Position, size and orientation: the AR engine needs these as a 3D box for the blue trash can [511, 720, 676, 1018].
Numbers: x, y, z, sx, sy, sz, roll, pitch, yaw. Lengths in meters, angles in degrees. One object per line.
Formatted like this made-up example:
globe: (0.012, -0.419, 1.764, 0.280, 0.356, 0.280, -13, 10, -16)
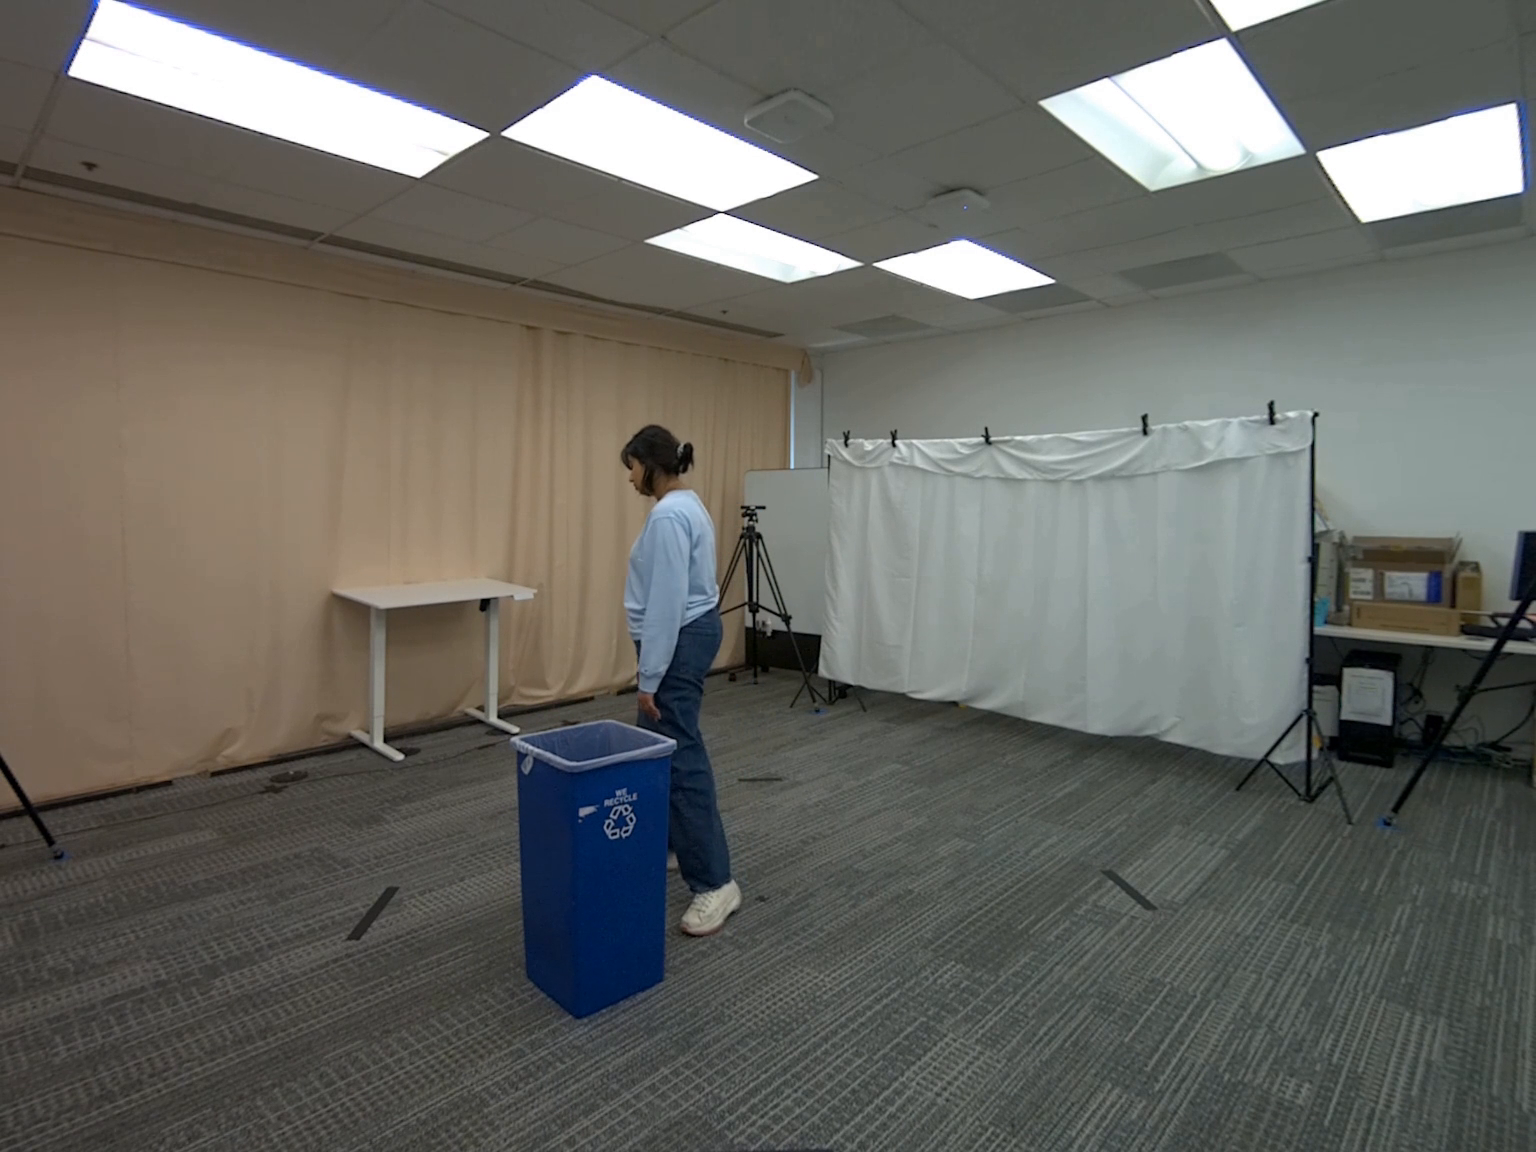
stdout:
blue trash can: (-0.509, 0.831, 2.476, 0.362, 0.712, 0.391, -3, 4, -43)
